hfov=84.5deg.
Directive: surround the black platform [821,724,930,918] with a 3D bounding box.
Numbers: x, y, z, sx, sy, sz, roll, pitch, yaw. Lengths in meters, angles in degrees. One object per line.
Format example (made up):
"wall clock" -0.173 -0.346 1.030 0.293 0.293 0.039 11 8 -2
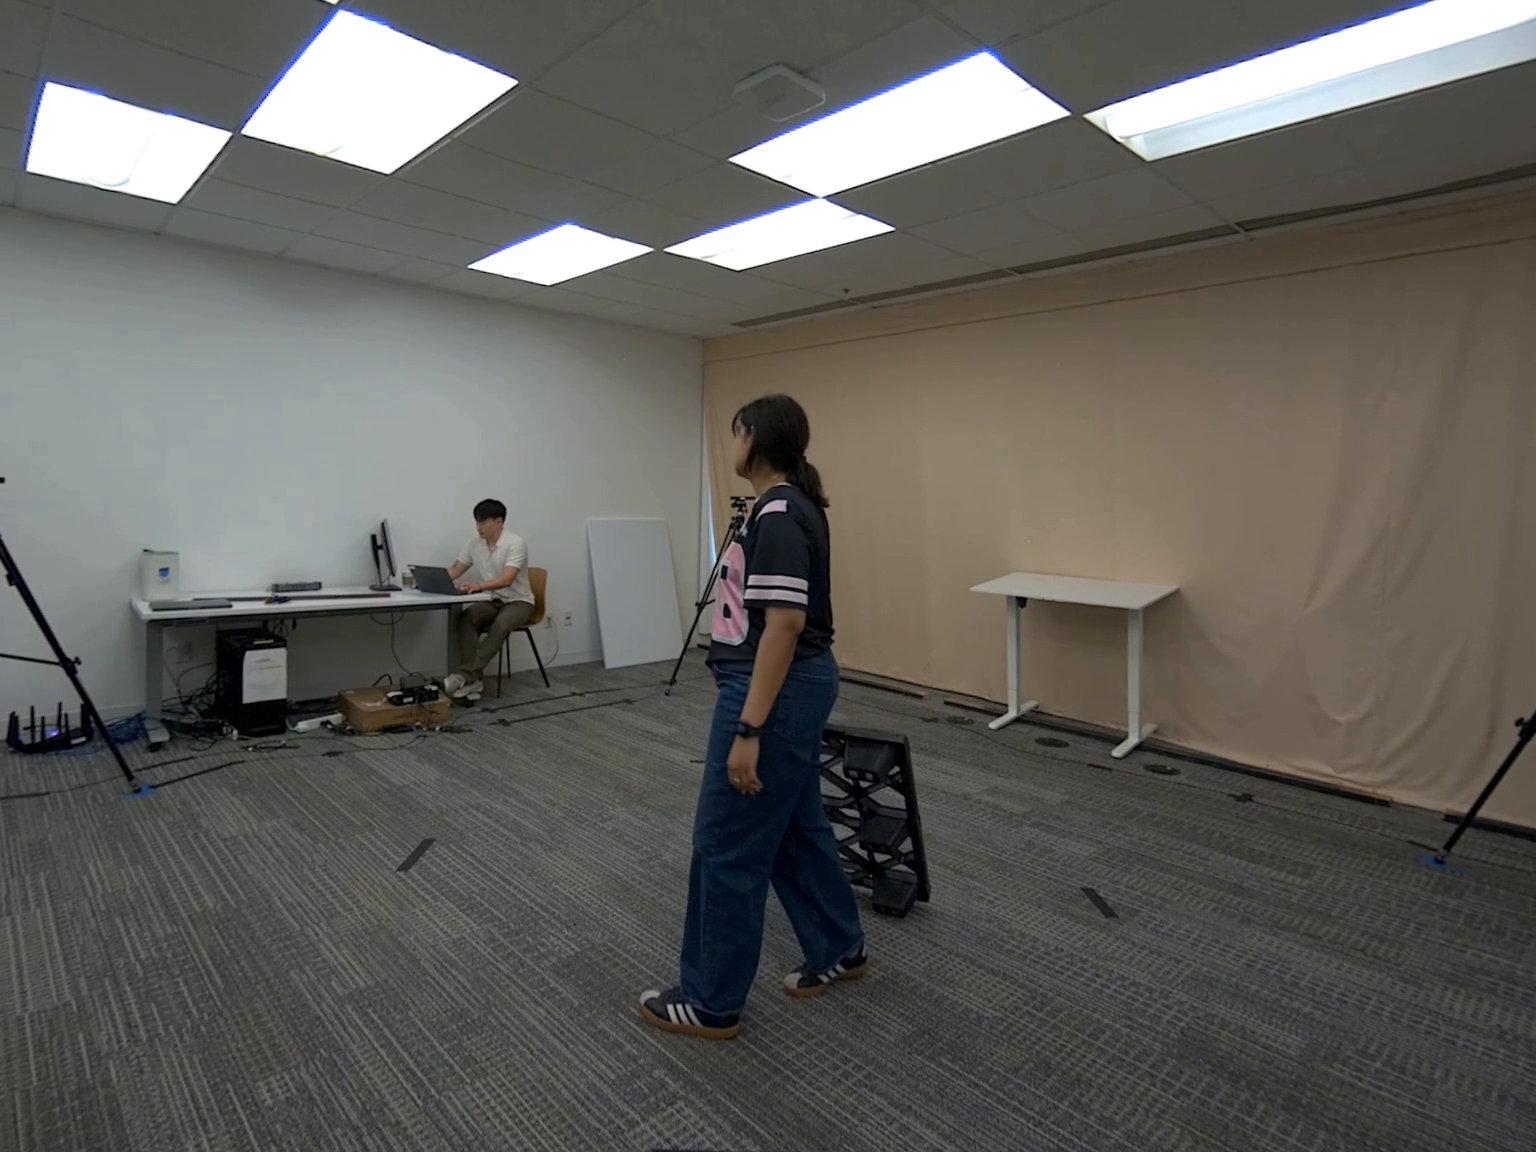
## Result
"black platform" 0.186 0.805 2.763 0.617 0.785 0.144 5 38 26
